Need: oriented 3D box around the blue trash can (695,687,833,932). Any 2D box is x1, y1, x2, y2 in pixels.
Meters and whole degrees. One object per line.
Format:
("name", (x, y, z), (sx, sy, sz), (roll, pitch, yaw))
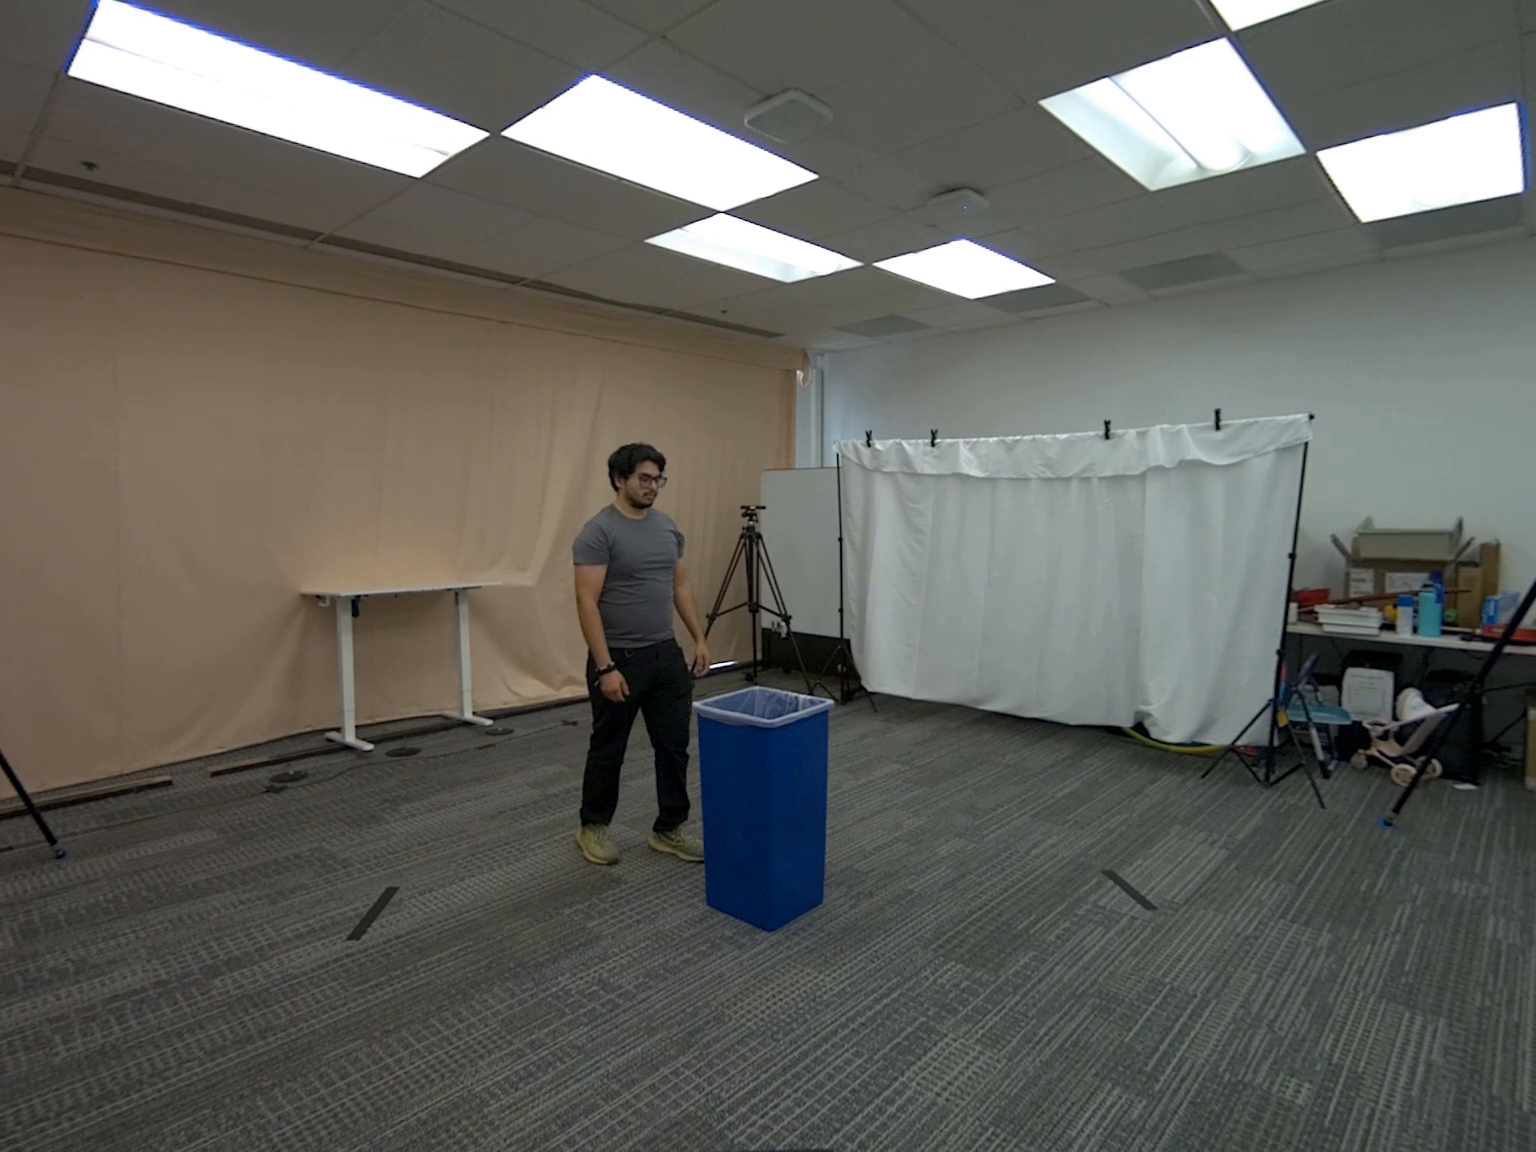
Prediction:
("blue trash can", (-0.018, 0.790, 2.933), (0.386, 0.712, 0.367), (3, 5, 40))
